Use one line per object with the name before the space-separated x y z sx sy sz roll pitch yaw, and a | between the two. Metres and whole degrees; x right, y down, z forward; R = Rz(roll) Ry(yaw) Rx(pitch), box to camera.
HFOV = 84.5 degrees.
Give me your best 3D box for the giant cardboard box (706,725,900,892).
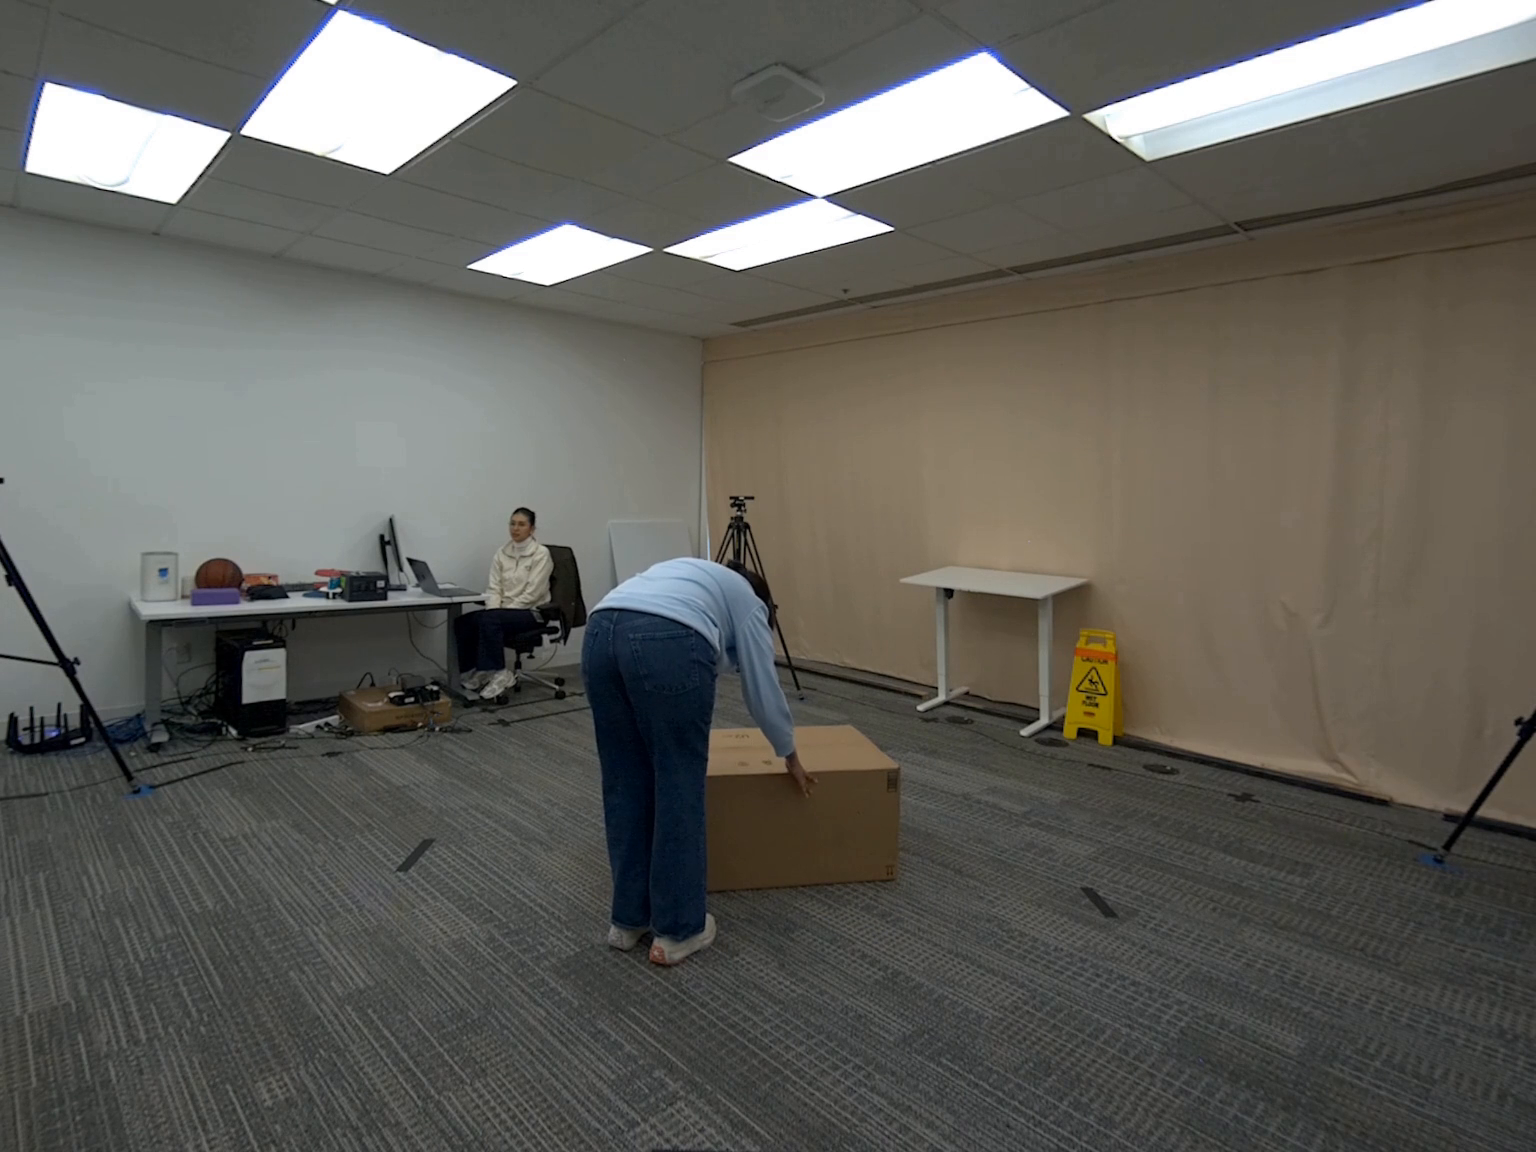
giant cardboard box | -0.081 0.880 3.269 1.017 0.425 0.584 0 5 -11
